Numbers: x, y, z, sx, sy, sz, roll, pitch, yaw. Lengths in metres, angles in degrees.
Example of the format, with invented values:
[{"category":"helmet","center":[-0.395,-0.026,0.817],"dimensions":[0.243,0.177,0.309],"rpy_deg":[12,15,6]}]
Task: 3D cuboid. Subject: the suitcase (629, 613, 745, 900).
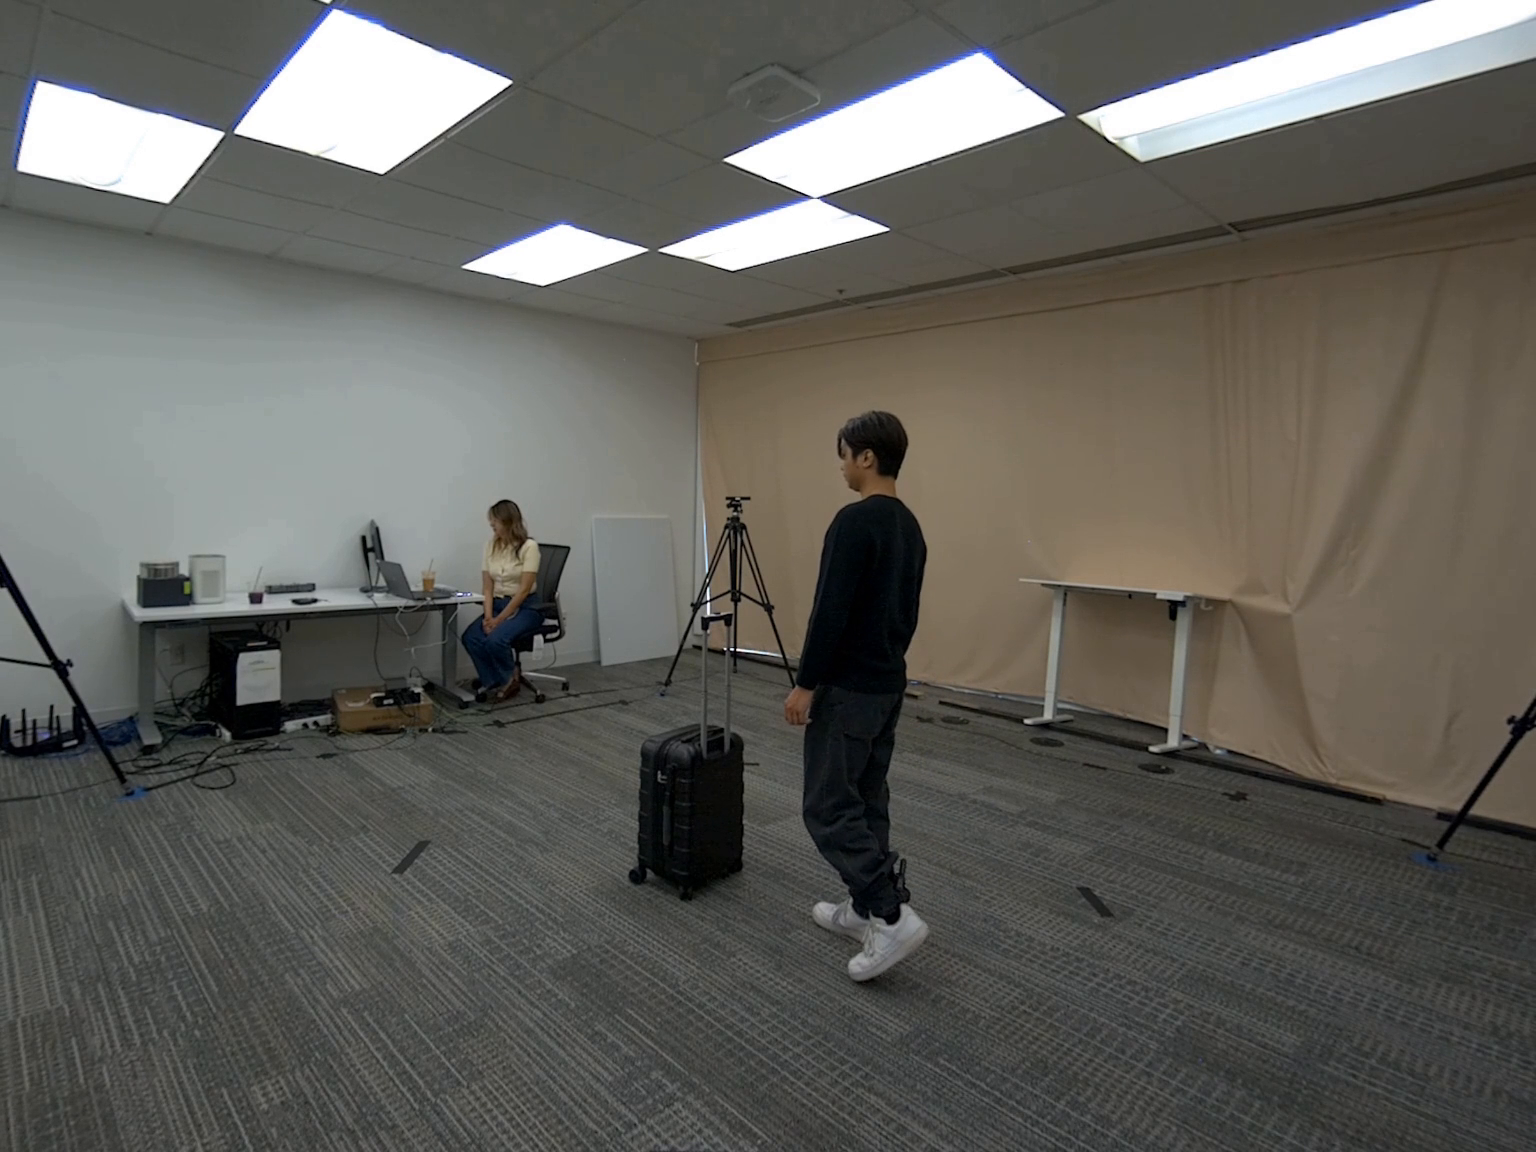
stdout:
[{"category":"suitcase","center":[-0.286,0.627,3.062],"dimensions":[0.263,0.977,0.375],"rpy_deg":[2,2,37]}]
